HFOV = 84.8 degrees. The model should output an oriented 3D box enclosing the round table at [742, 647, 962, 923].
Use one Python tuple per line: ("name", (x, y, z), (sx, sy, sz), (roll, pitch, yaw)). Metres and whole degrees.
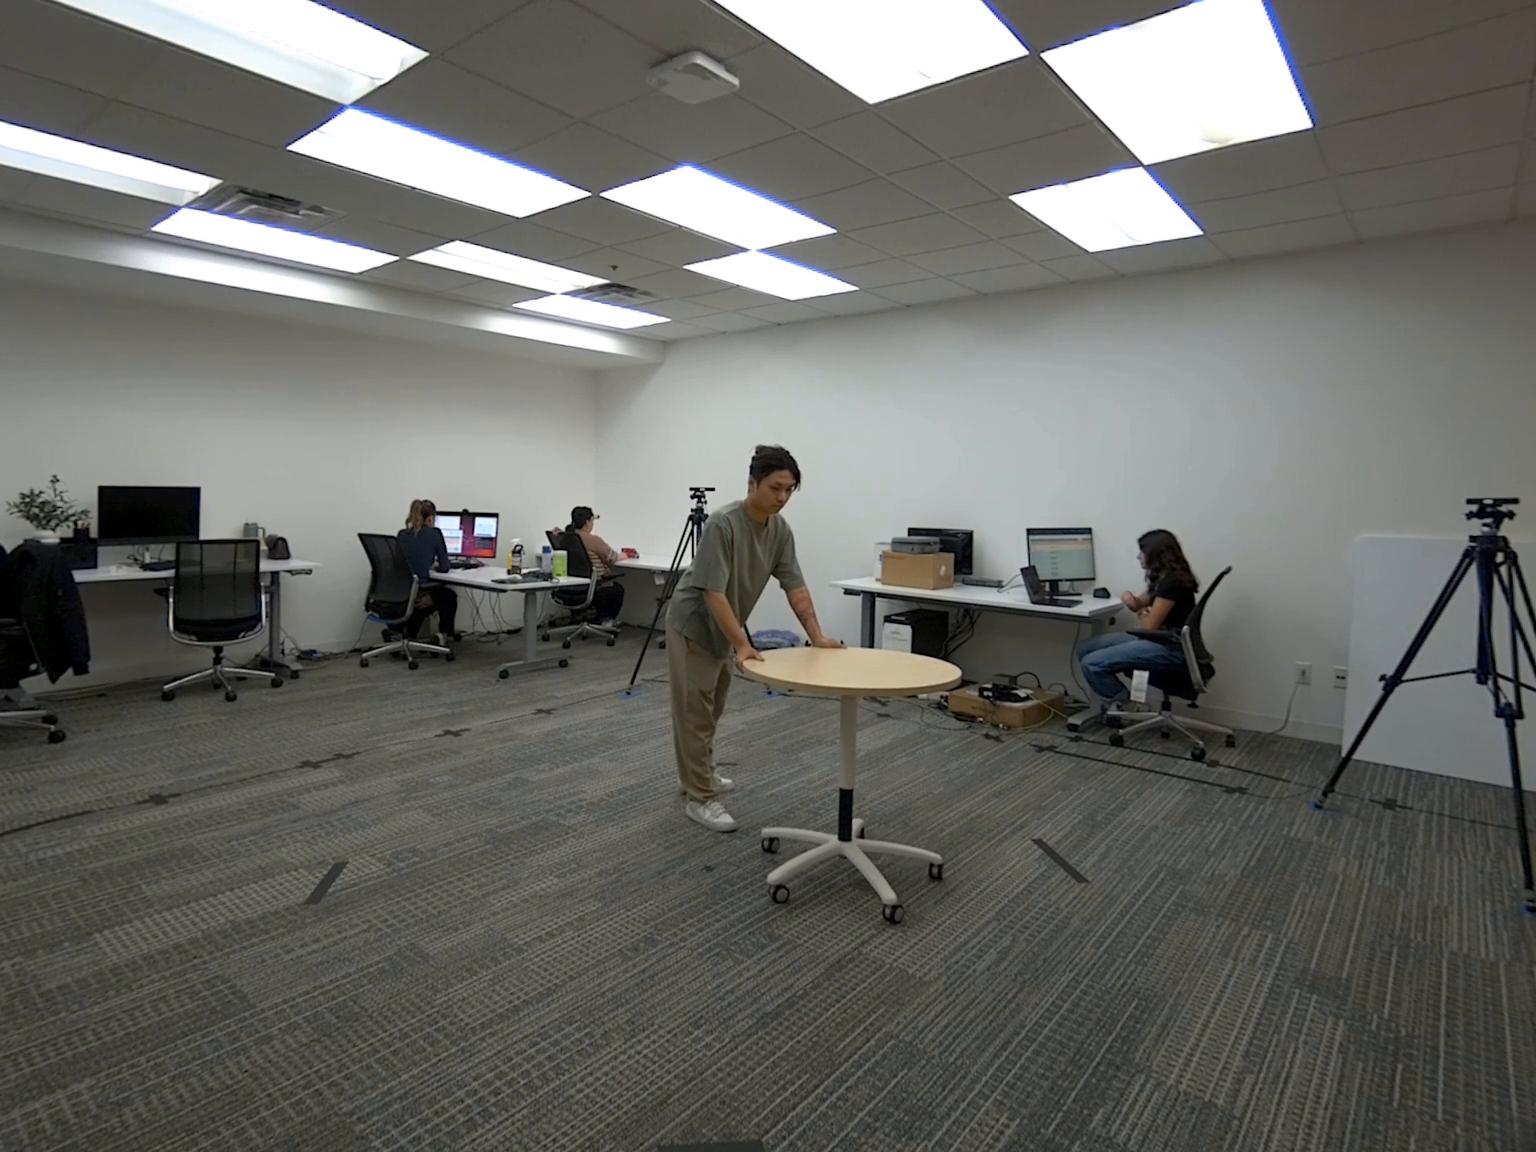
("round table", (0.278, 0.697, 3.036), (0.784, 0.784, 0.788), (1, 3, -2))
